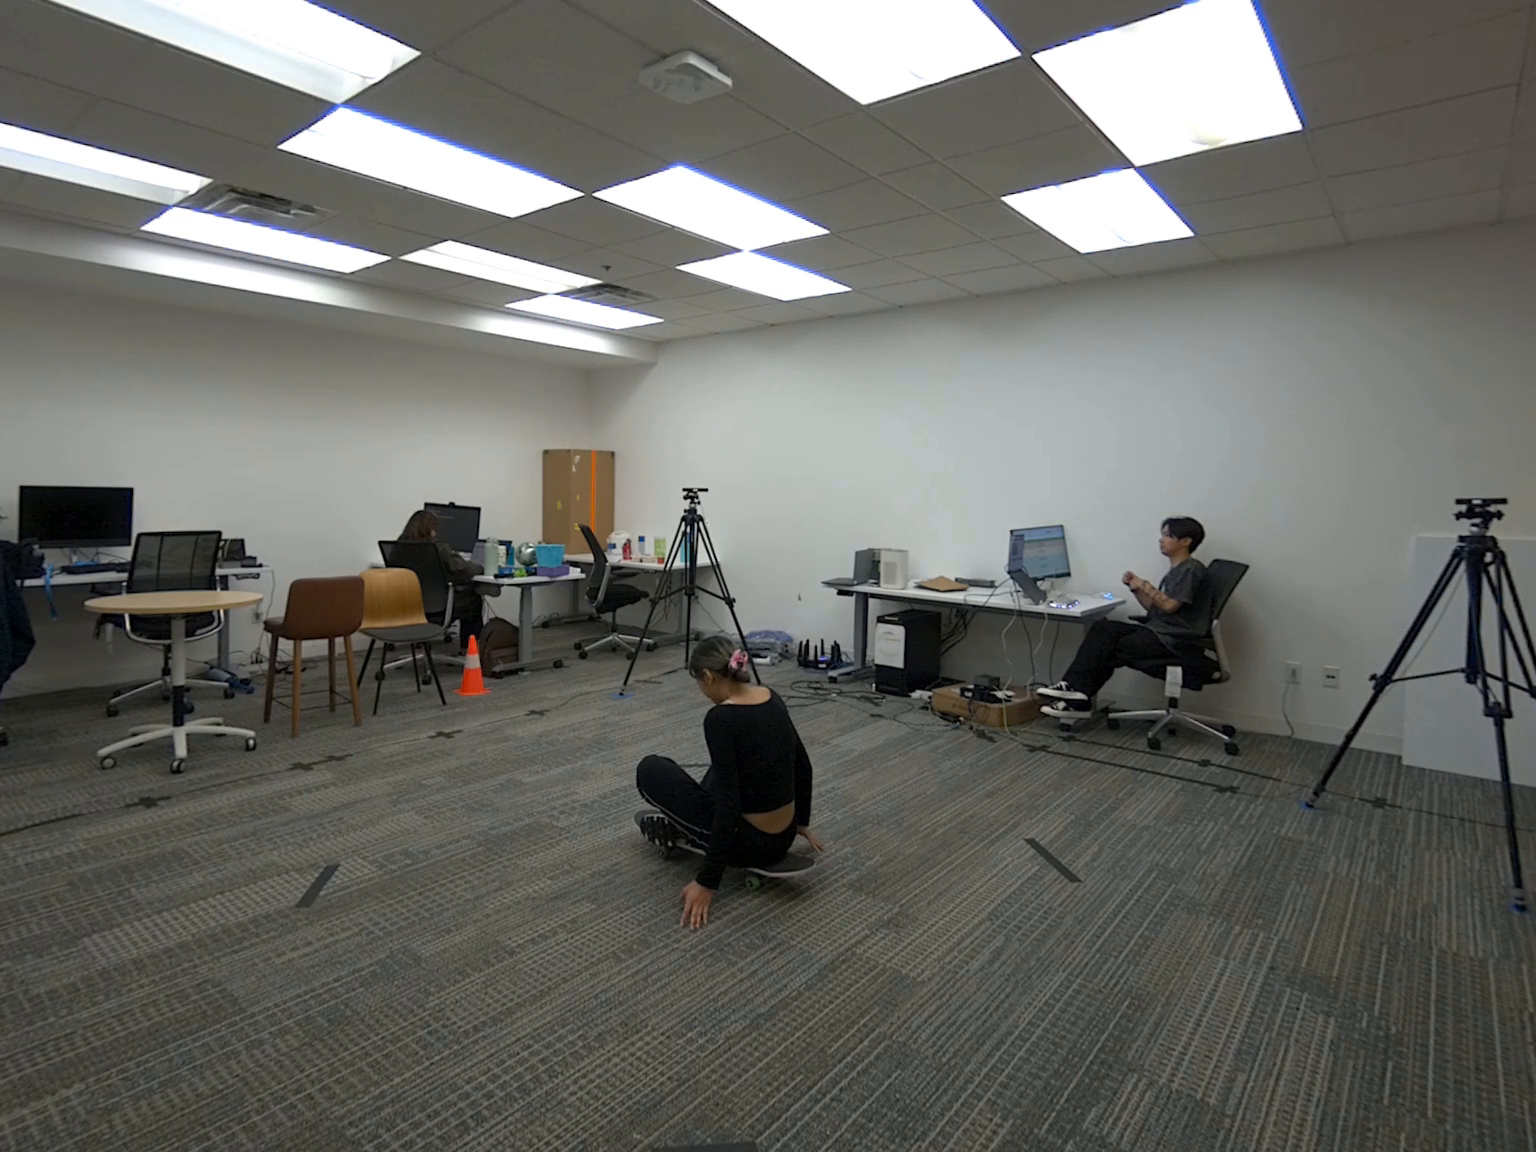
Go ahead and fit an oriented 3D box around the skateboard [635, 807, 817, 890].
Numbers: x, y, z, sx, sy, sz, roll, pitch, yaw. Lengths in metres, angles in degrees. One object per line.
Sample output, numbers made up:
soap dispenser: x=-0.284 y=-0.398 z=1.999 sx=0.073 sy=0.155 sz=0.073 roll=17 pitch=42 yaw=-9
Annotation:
skateboard: x=-0.197 y=1.007 z=3.128 sx=0.811 sy=0.110 sz=0.188 roll=7 pitch=6 yaw=34
